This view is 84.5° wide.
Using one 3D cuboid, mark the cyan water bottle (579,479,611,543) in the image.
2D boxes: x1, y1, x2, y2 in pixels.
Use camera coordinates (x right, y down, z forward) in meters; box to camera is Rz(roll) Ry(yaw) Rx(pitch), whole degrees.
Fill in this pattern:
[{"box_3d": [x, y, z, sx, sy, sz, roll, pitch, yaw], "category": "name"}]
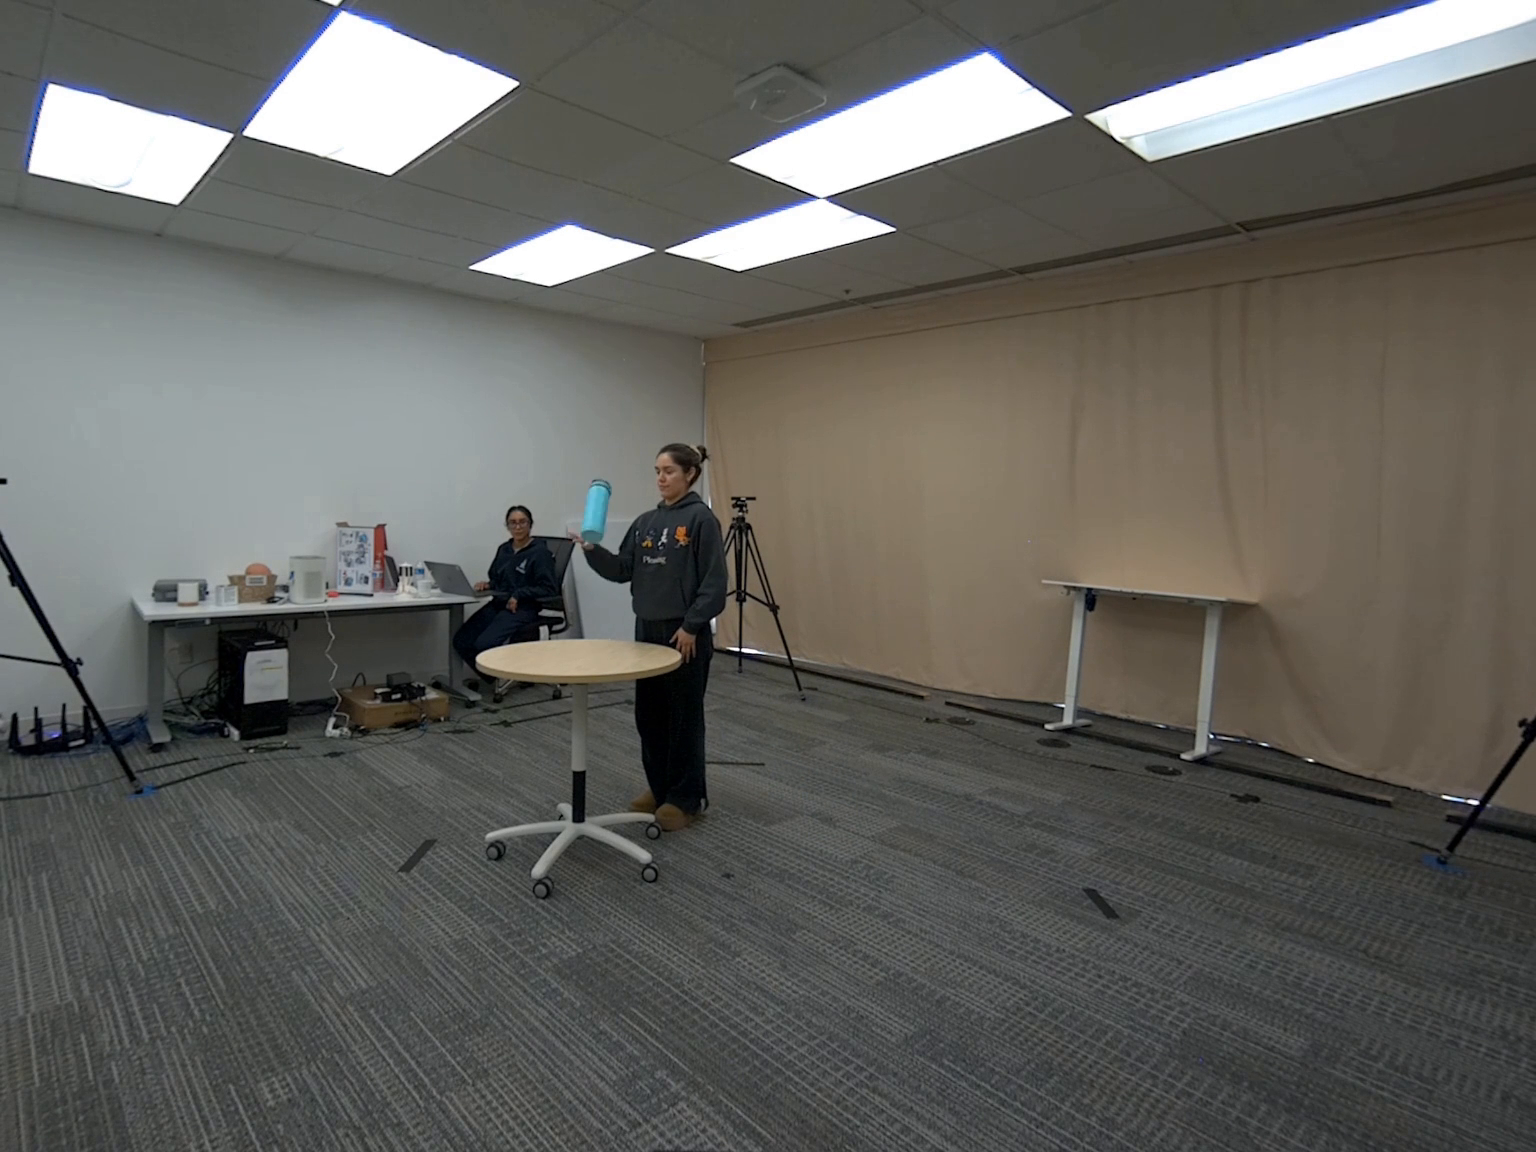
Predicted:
[{"box_3d": [-0.691, -0.224, 3.351, 0.092, 0.289, 0.090, 1, -33, 0], "category": "cyan water bottle"}]
